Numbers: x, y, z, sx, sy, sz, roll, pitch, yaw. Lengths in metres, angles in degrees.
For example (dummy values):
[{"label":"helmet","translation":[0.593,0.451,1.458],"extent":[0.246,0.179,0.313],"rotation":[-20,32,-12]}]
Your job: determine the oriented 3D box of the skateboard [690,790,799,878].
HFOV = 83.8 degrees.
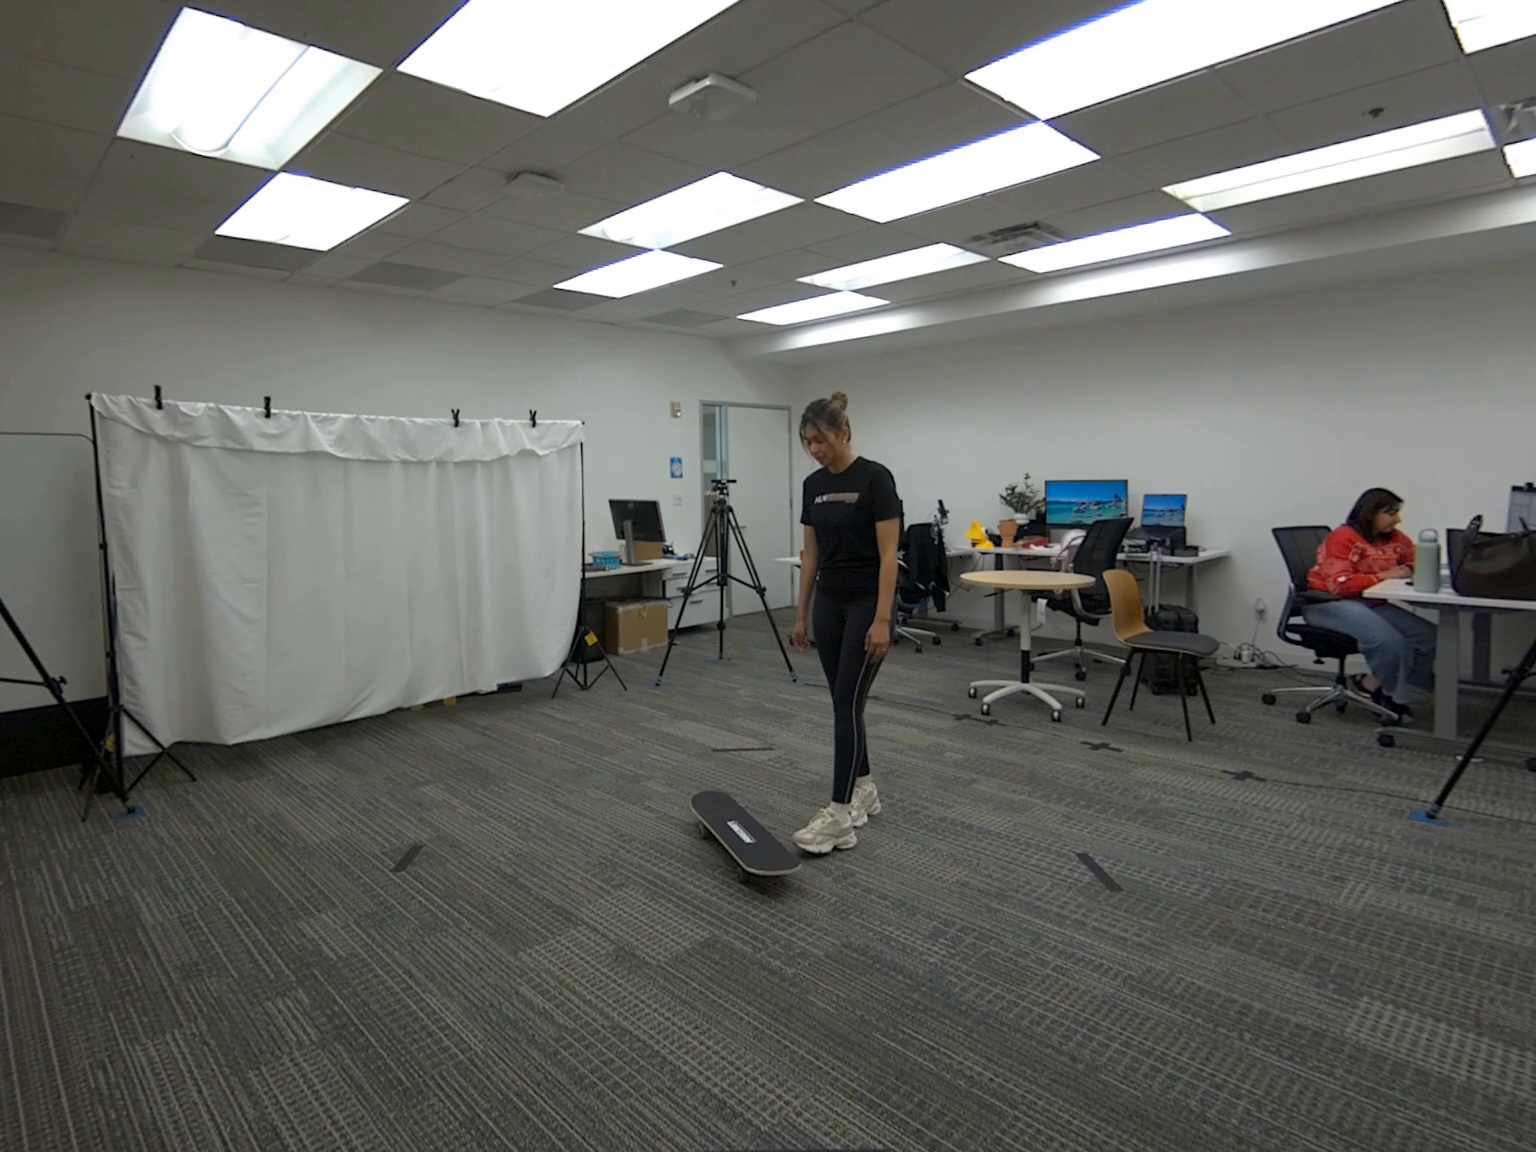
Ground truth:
[{"label":"skateboard","translation":[-0.097,0.982,3.181],"extent":[0.190,0.110,0.804],"rotation":[-2,6,-22]}]
